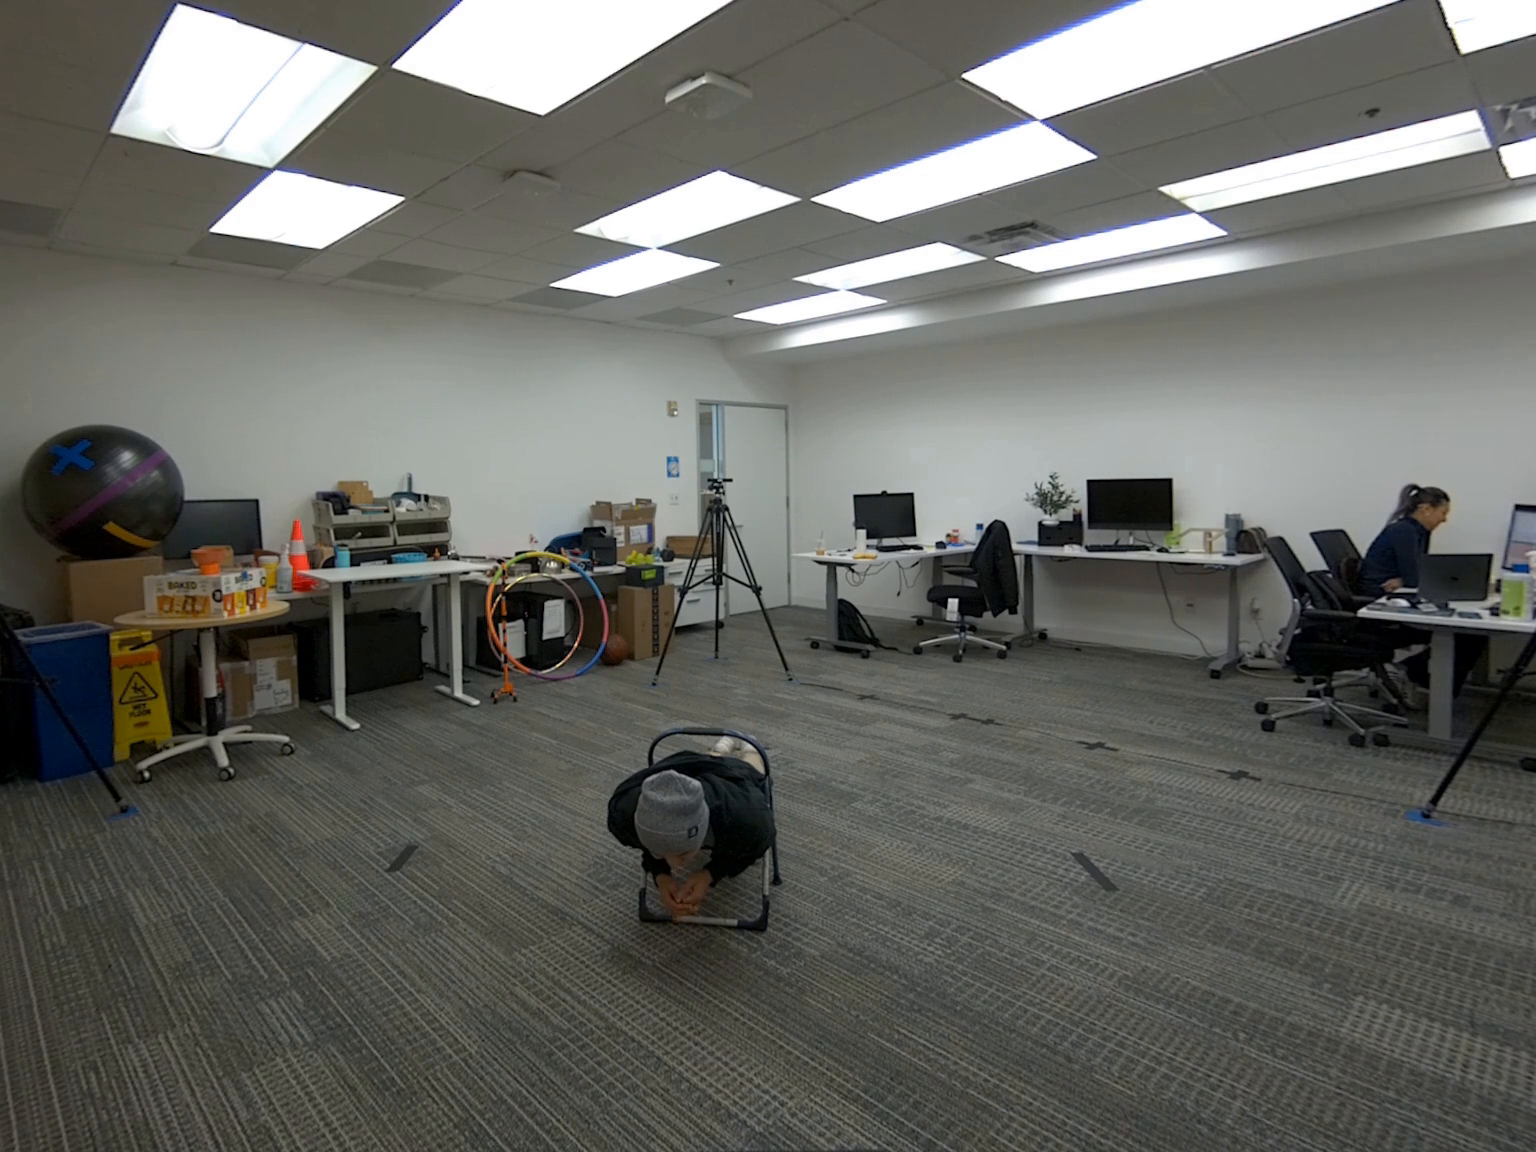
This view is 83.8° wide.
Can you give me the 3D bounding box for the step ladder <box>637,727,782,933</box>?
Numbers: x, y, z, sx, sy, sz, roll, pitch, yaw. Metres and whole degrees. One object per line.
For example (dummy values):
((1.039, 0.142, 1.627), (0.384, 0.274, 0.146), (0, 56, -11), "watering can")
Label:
((-0.183, 0.782, 2.820), (0.434, 0.603, 0.348), (0, 5, 8), "step ladder")
